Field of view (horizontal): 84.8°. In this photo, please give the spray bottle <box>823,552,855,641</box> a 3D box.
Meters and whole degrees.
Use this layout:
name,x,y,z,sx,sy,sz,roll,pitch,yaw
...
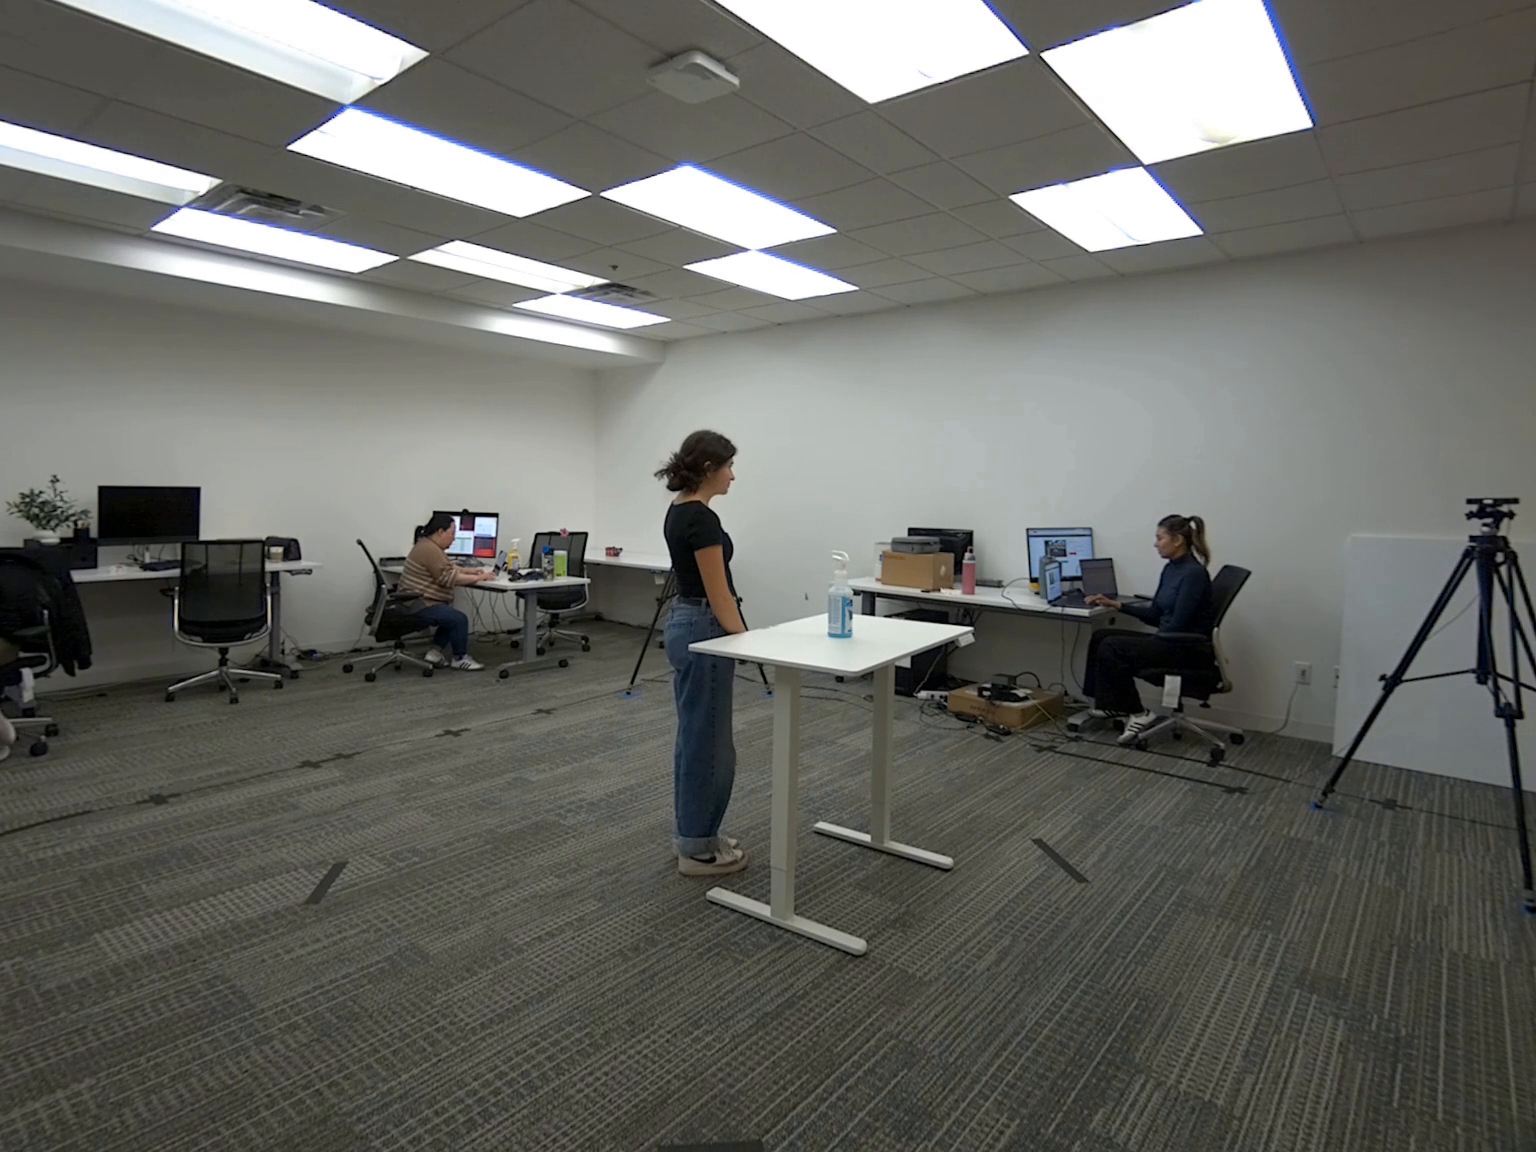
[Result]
name,x,y,z,sx,sy,sz,roll,pitch,yaw
spray bottle,0.247,0.067,2.948,0.086,0.296,0.091,0,3,-5
